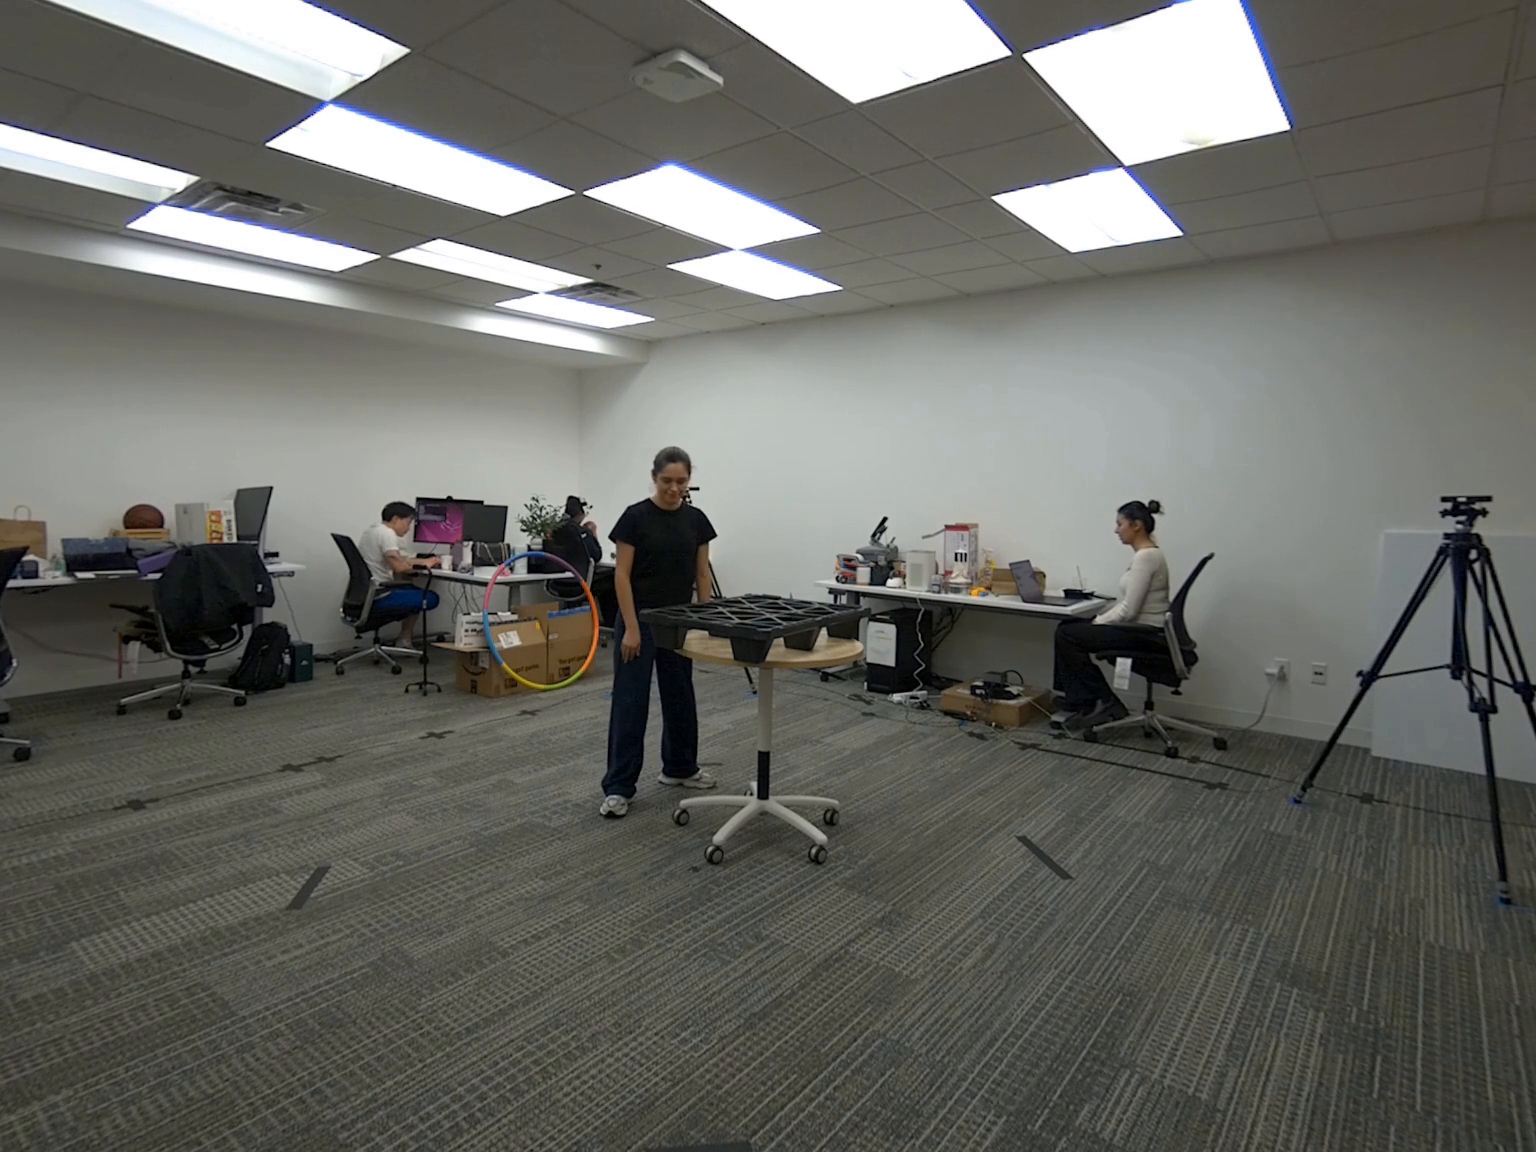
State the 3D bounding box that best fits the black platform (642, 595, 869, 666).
[{"bbox_3d":[-0.009,0.196,3.400,0.625,0.142,0.783,6,8,35],"label":"black platform"}]
